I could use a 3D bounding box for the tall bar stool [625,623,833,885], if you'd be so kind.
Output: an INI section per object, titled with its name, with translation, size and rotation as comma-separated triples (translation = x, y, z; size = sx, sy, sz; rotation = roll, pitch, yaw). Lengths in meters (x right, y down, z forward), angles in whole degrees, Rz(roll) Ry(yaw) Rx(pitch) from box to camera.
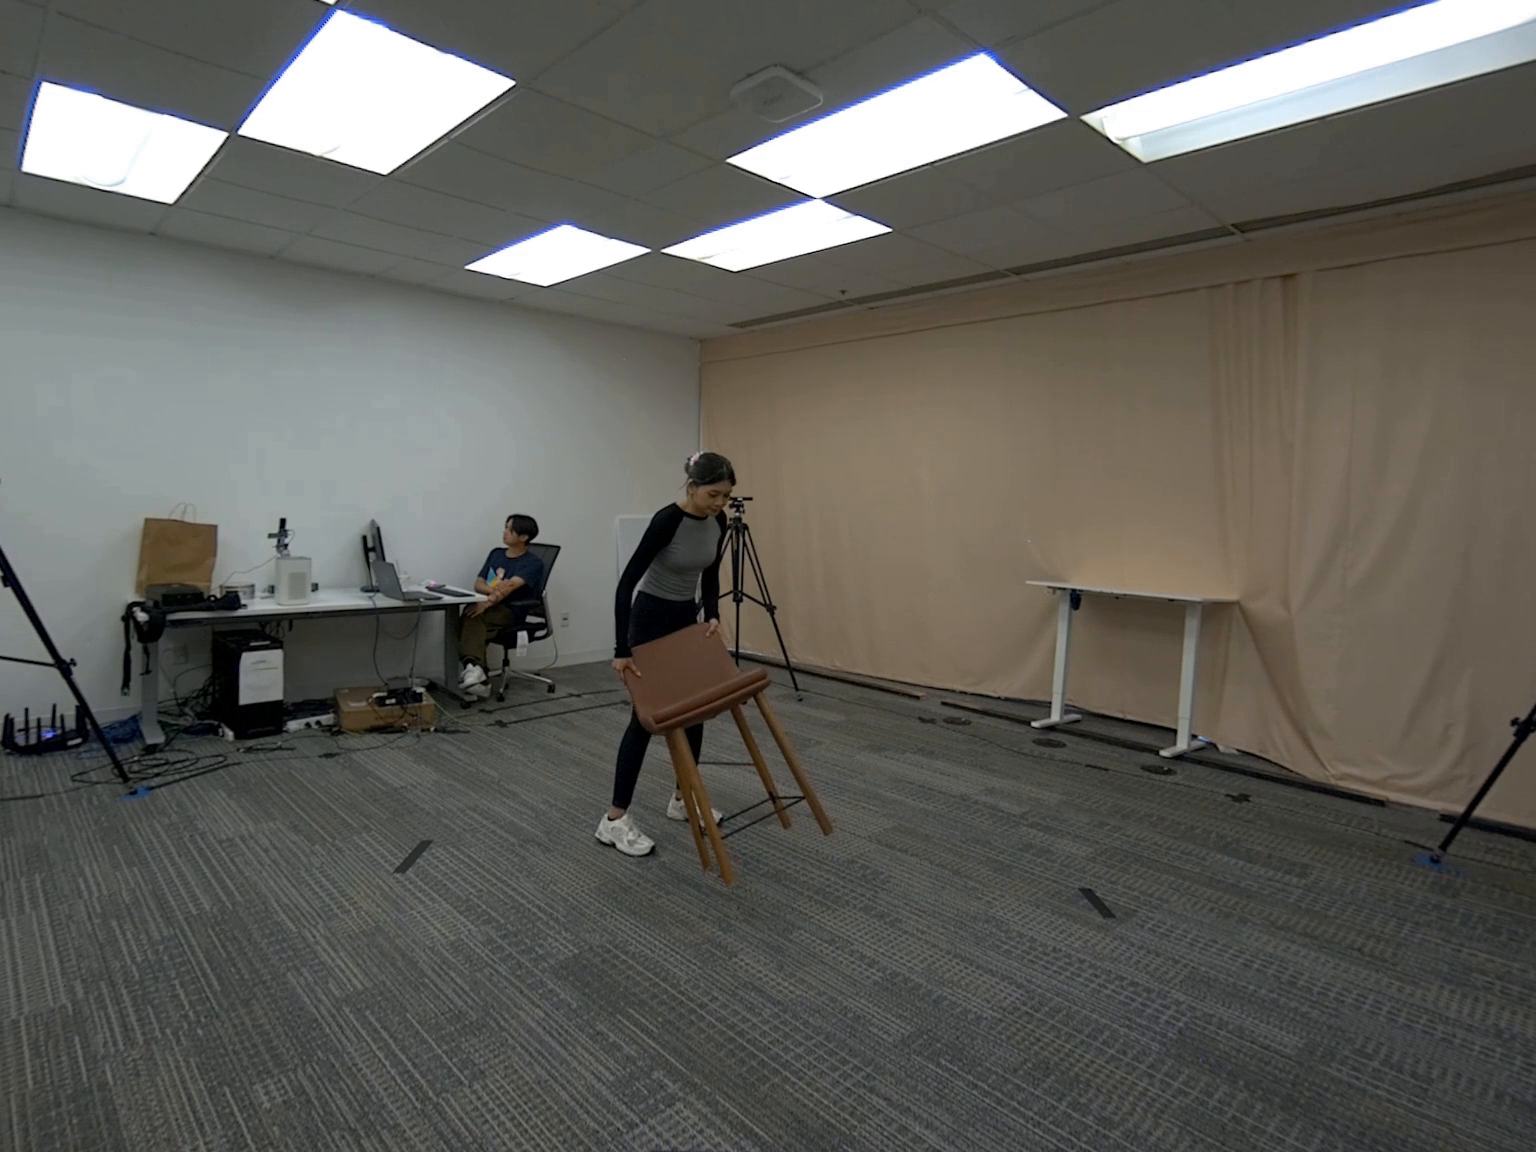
[tall bar stool]
translation = -0.188, 0.598, 3.079
size = 0.452, 0.899, 0.467
rotation = -20, -10, -19
